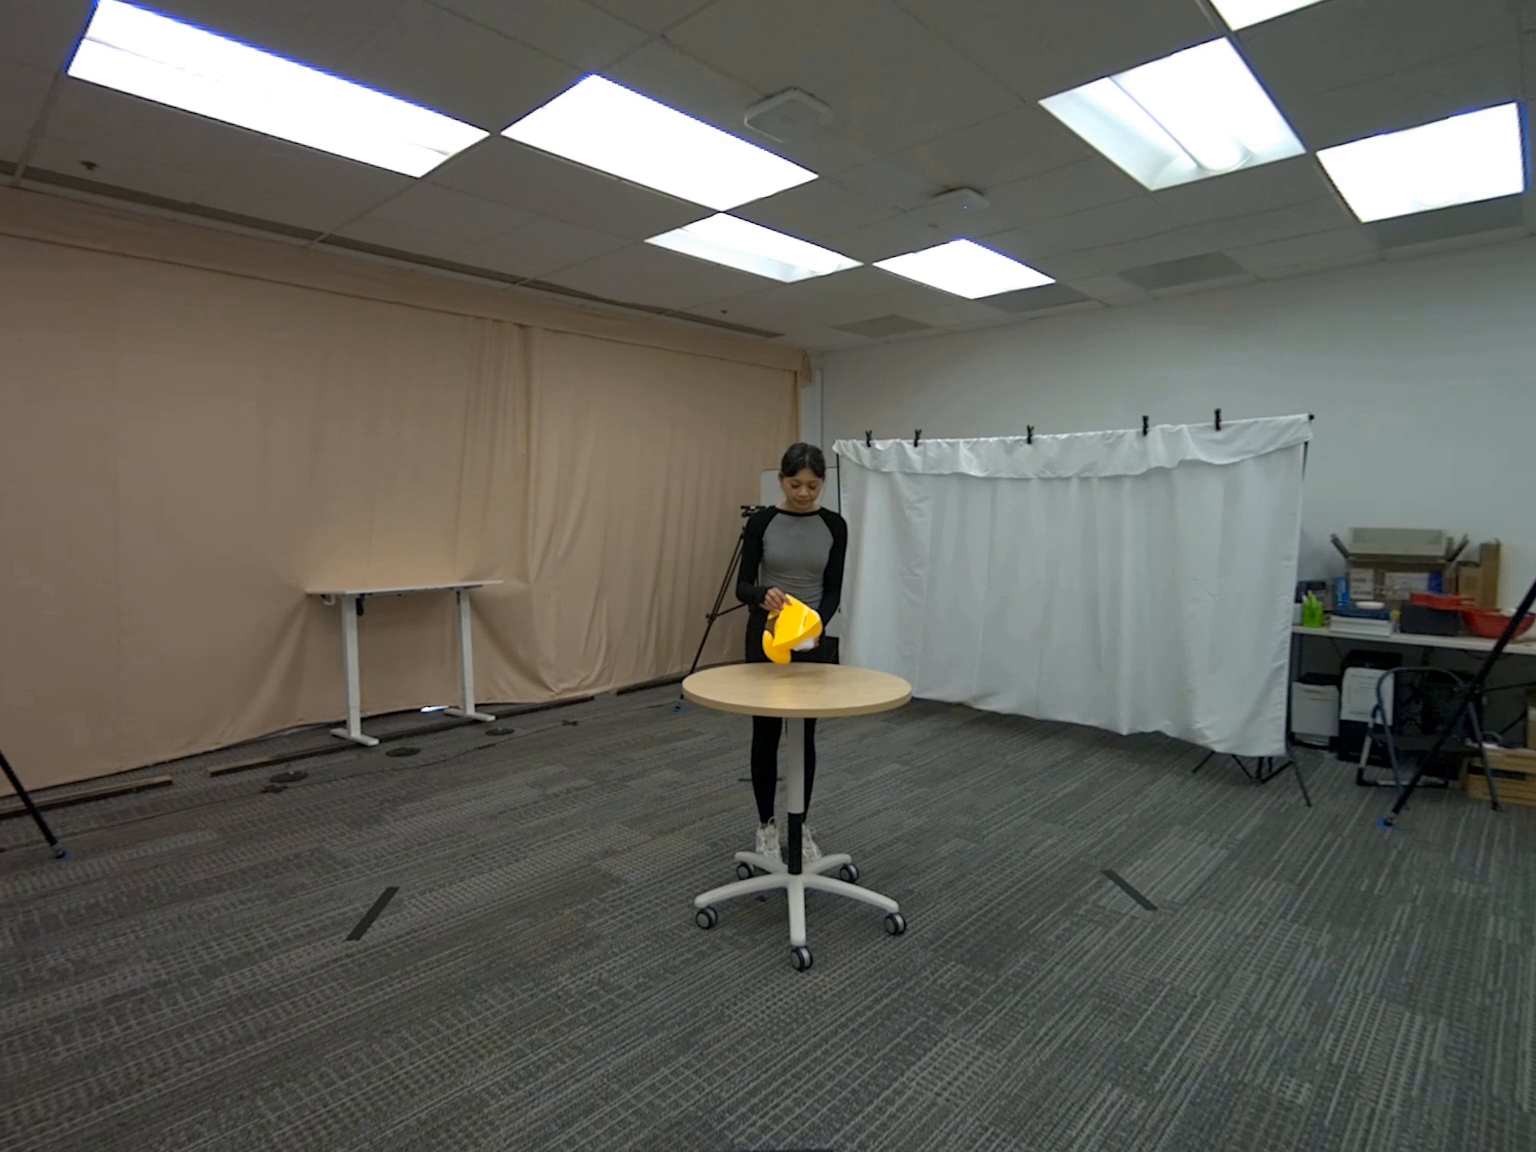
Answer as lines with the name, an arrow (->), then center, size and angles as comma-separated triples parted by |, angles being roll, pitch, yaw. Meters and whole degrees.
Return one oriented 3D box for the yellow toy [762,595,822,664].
yellow toy -> 0.111, 0.192, 2.925 | 0.237, 0.206, 0.186 | -11, -38, 41
